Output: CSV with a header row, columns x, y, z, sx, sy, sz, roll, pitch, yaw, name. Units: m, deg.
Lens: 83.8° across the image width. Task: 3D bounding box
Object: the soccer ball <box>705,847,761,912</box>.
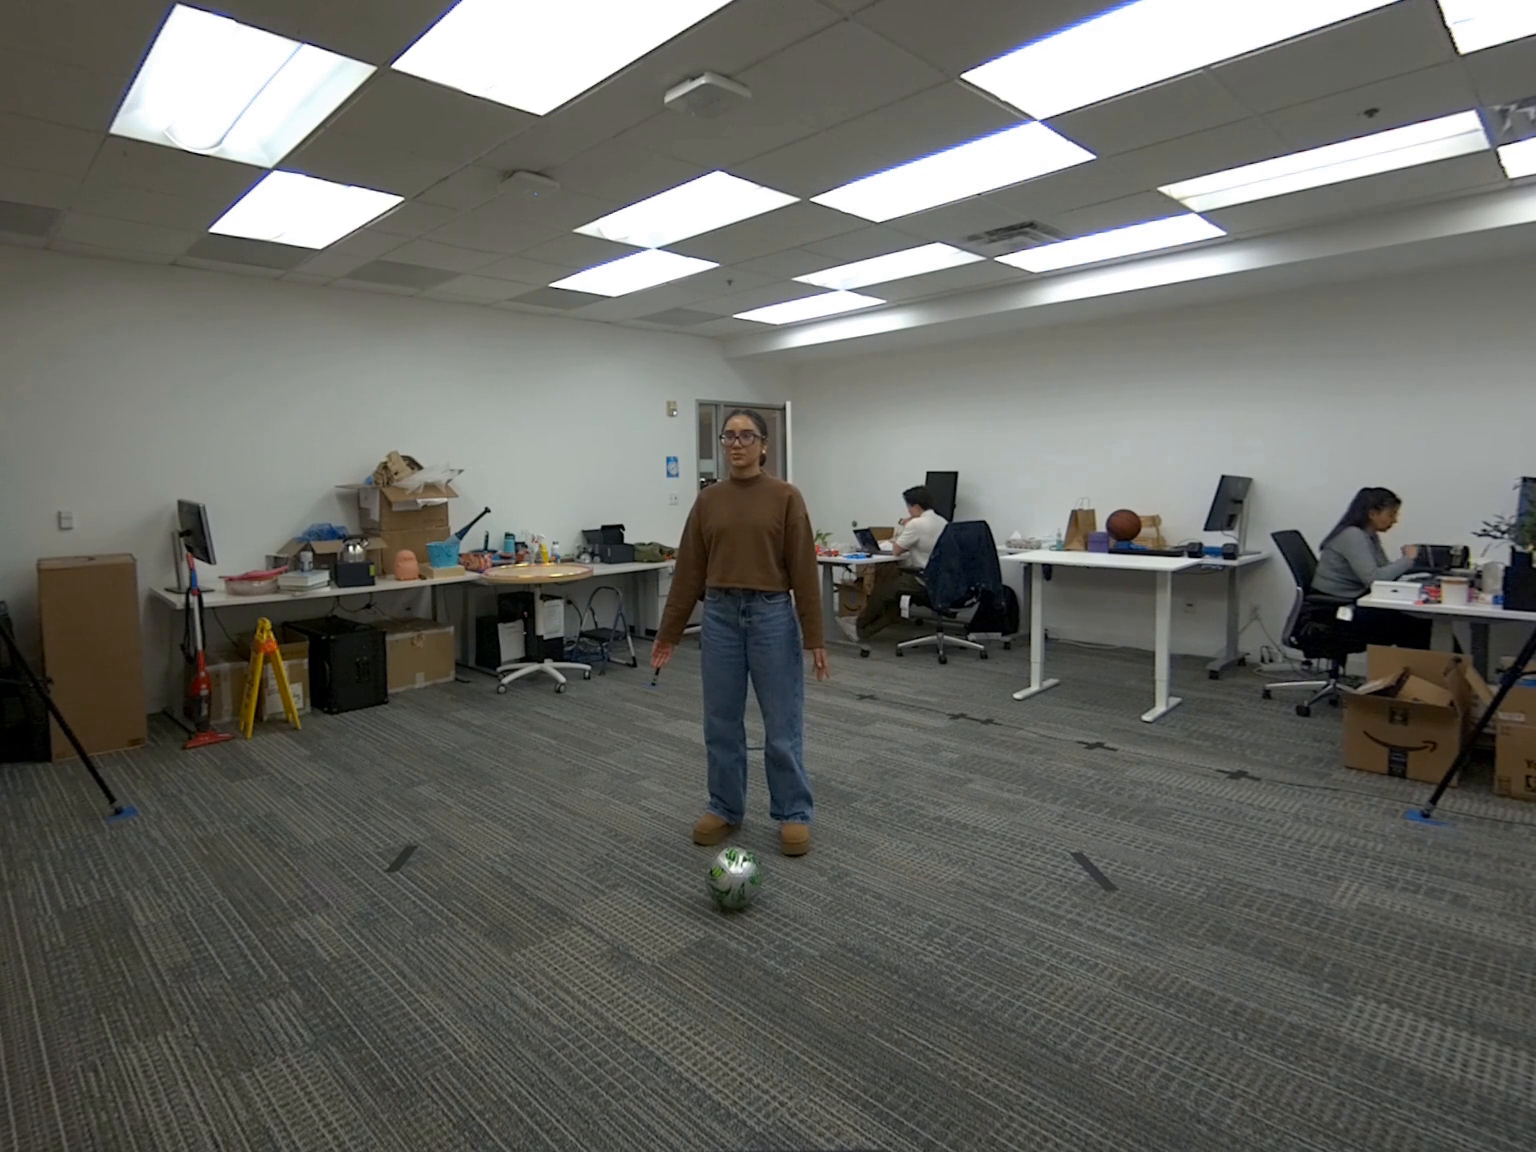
x,y,z,sx,sy,sz,roll,pitch,yaw,name
-0.112,0.990,2.797,0.187,0.187,0.188,-1,5,-2,soccer ball
